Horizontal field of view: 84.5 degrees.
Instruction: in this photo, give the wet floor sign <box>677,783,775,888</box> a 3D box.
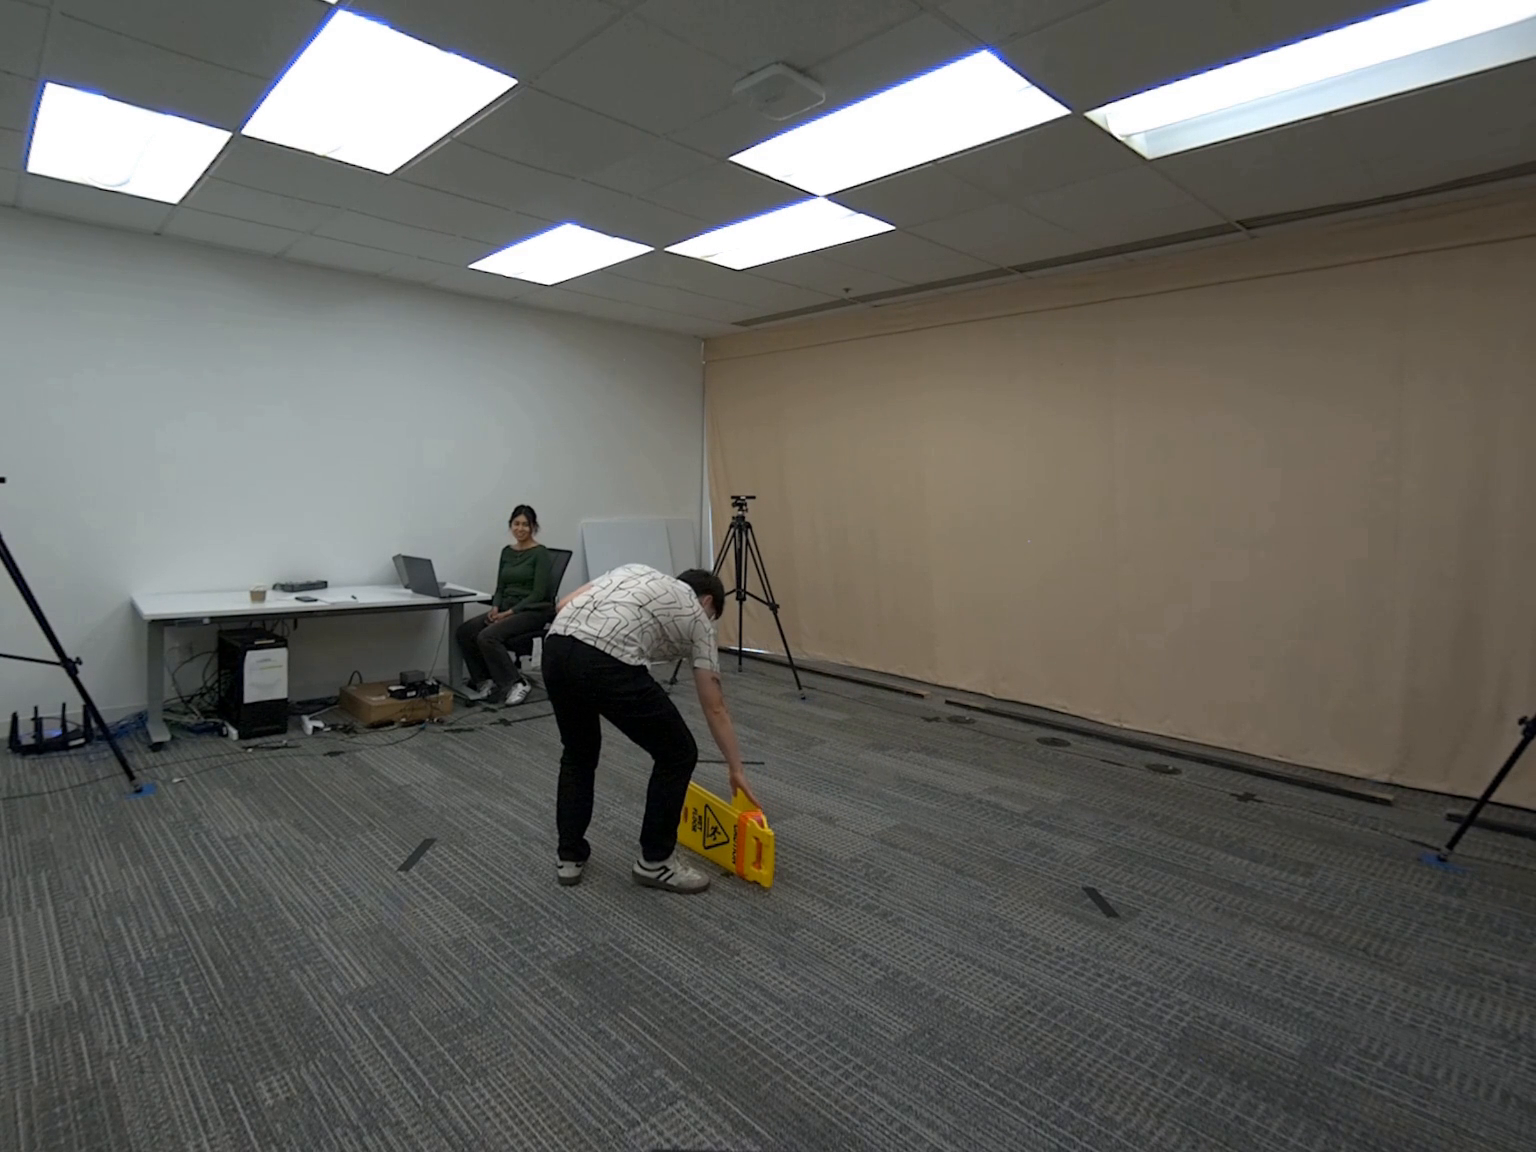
[{"bbox_3d":[-0.145,0.960,3.238,0.284,0.281,0.661,-1,7,-28],"label":"wet floor sign"}]
